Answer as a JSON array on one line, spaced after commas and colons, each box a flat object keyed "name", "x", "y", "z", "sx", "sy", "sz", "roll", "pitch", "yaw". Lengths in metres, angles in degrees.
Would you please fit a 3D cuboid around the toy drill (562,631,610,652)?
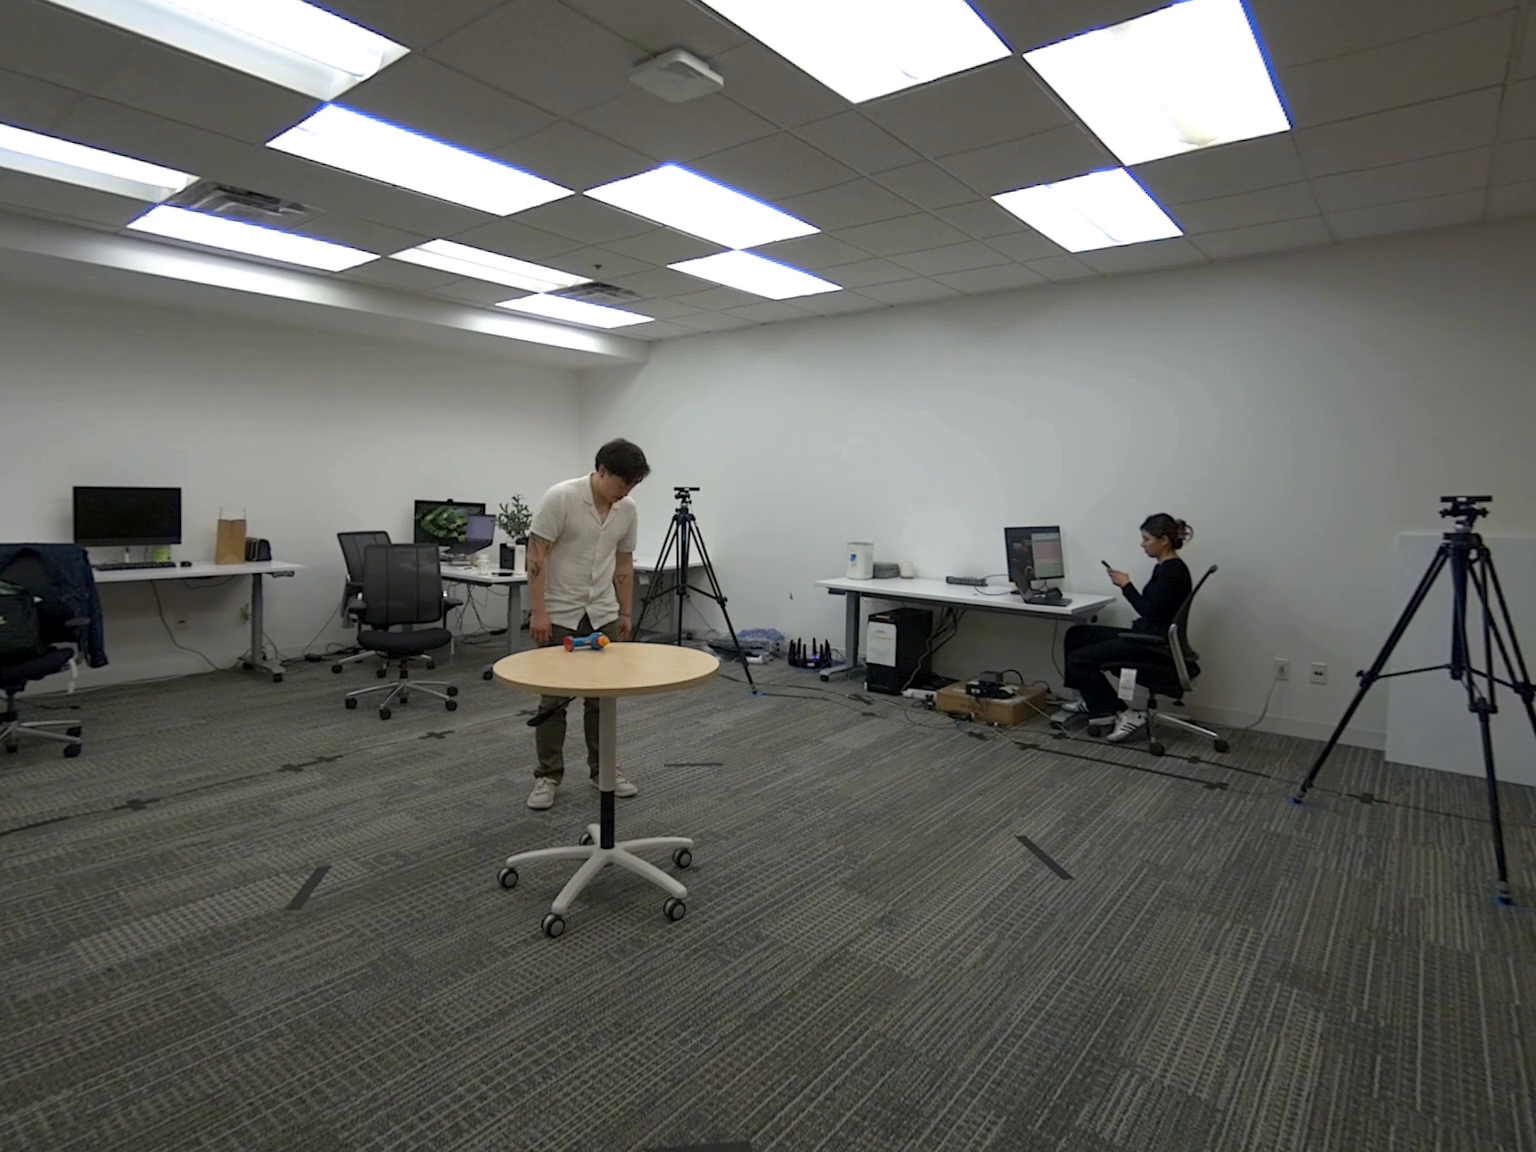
[{"name": "toy drill", "x": -0.668, "y": 0.244, "z": 3.140, "sx": 0.142, "sy": 0.061, "sz": 0.174, "roll": -5, "pitch": 2, "yaw": -30}]
